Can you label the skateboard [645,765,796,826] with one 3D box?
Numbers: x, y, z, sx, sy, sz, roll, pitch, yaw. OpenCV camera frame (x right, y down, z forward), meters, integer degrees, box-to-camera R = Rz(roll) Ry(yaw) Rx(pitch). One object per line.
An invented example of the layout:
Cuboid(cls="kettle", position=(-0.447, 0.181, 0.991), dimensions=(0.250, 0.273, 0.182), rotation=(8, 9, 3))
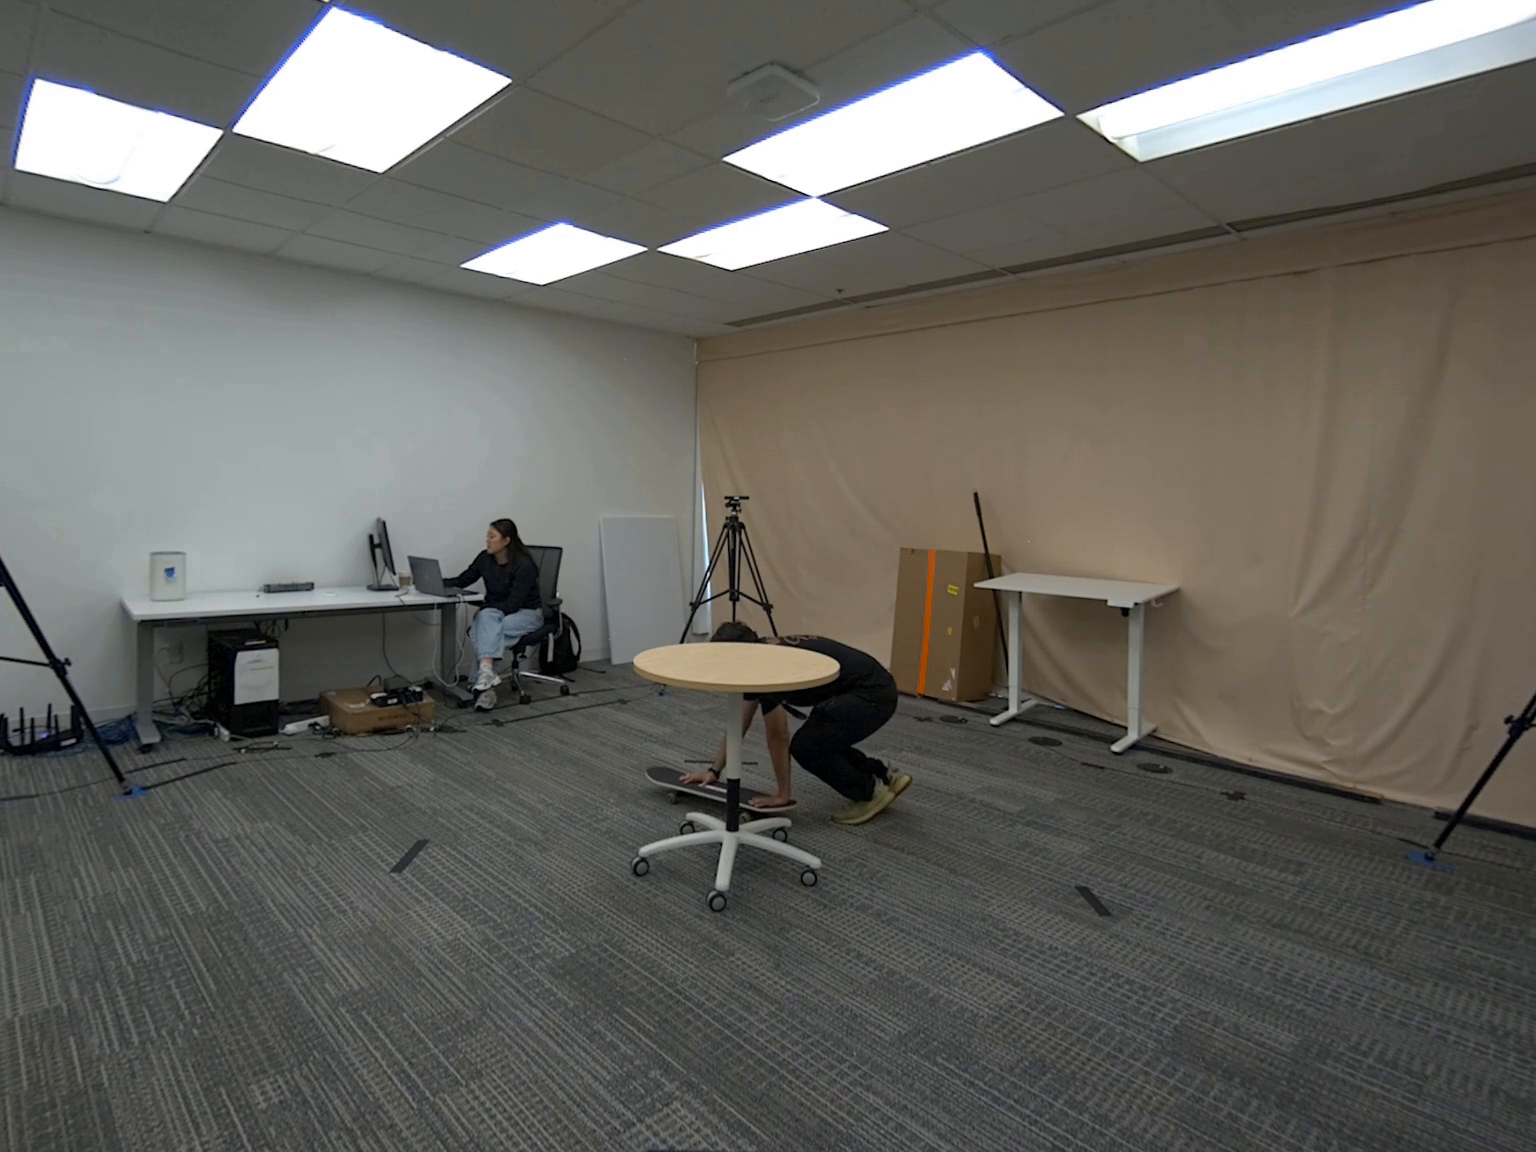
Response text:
Cuboid(cls="skateboard", position=(-0.231, 0.980, 3.767), dimensions=(0.804, 0.110, 0.189), rotation=(5, 4, 34))
